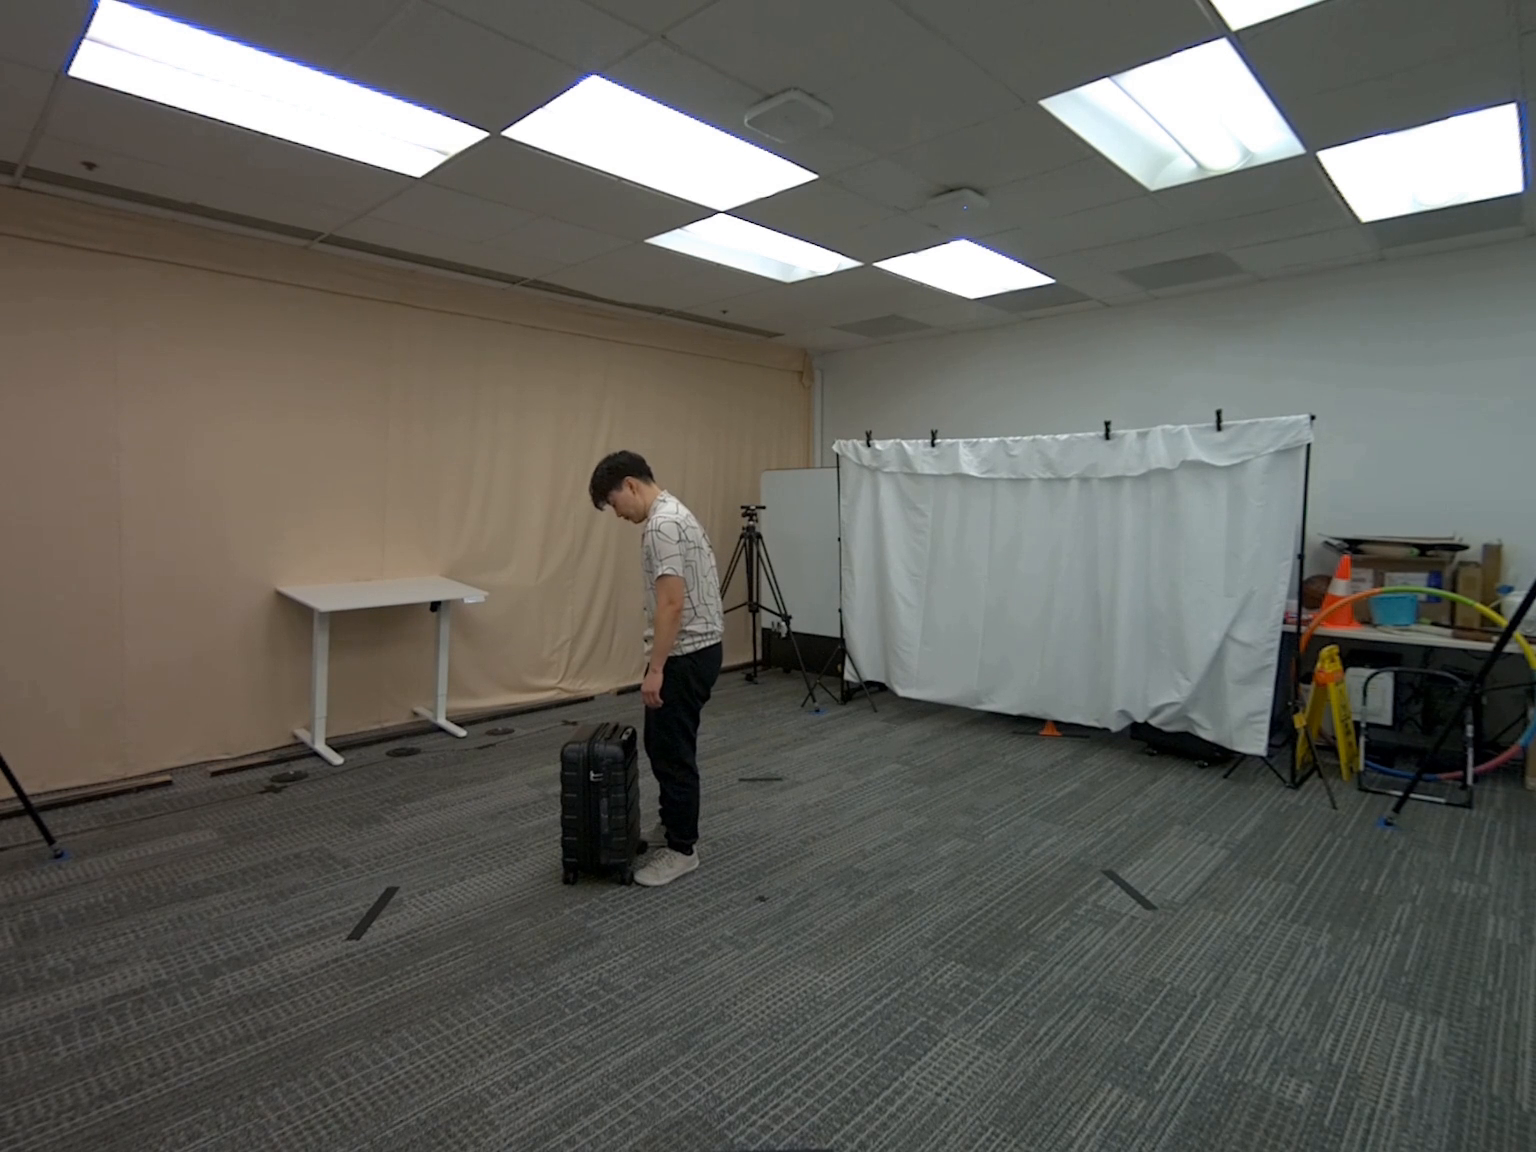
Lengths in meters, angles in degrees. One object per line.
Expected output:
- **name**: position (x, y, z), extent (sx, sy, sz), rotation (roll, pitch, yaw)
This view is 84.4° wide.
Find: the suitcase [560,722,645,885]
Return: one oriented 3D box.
- **suitcase**: position (-0.639, 0.853, 3.223), extent (0.249, 0.548, 0.375), rotation (-1, 4, 1)
